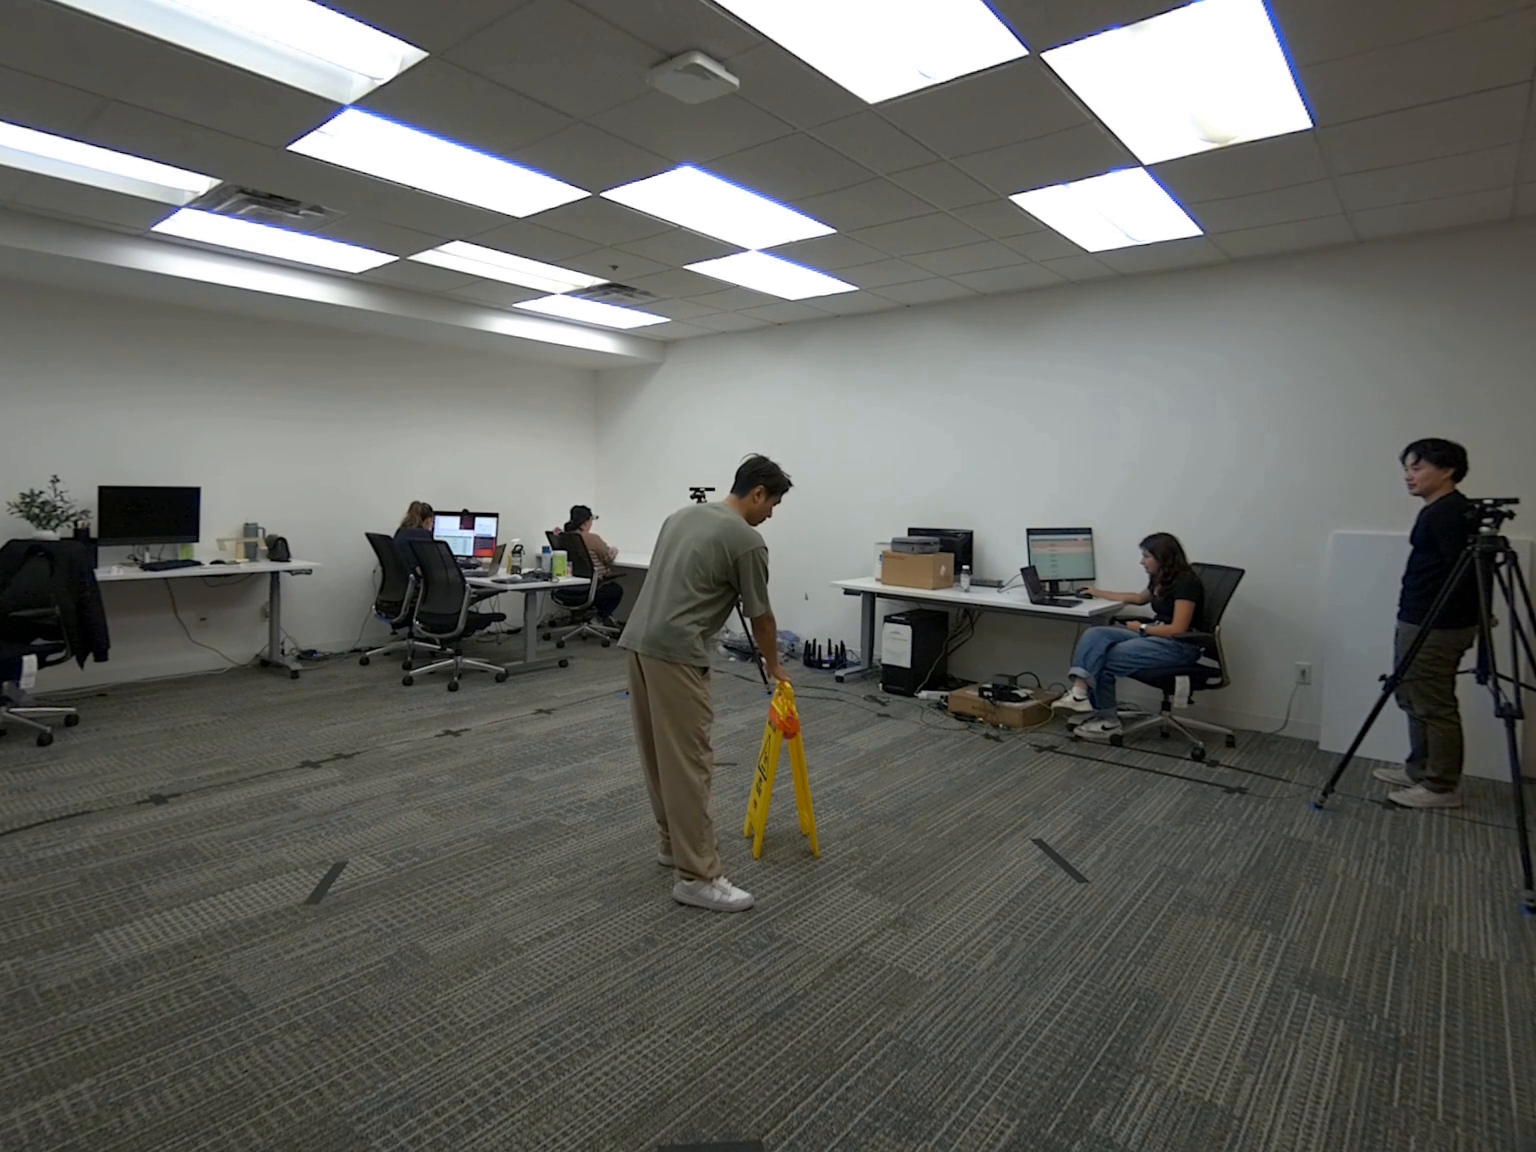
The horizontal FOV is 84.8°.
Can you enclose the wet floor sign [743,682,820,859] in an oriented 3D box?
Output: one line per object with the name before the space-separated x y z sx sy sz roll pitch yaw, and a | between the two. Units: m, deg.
wet floor sign | 0.047 0.730 3.317 0.287 0.644 0.286 1 4 -10
